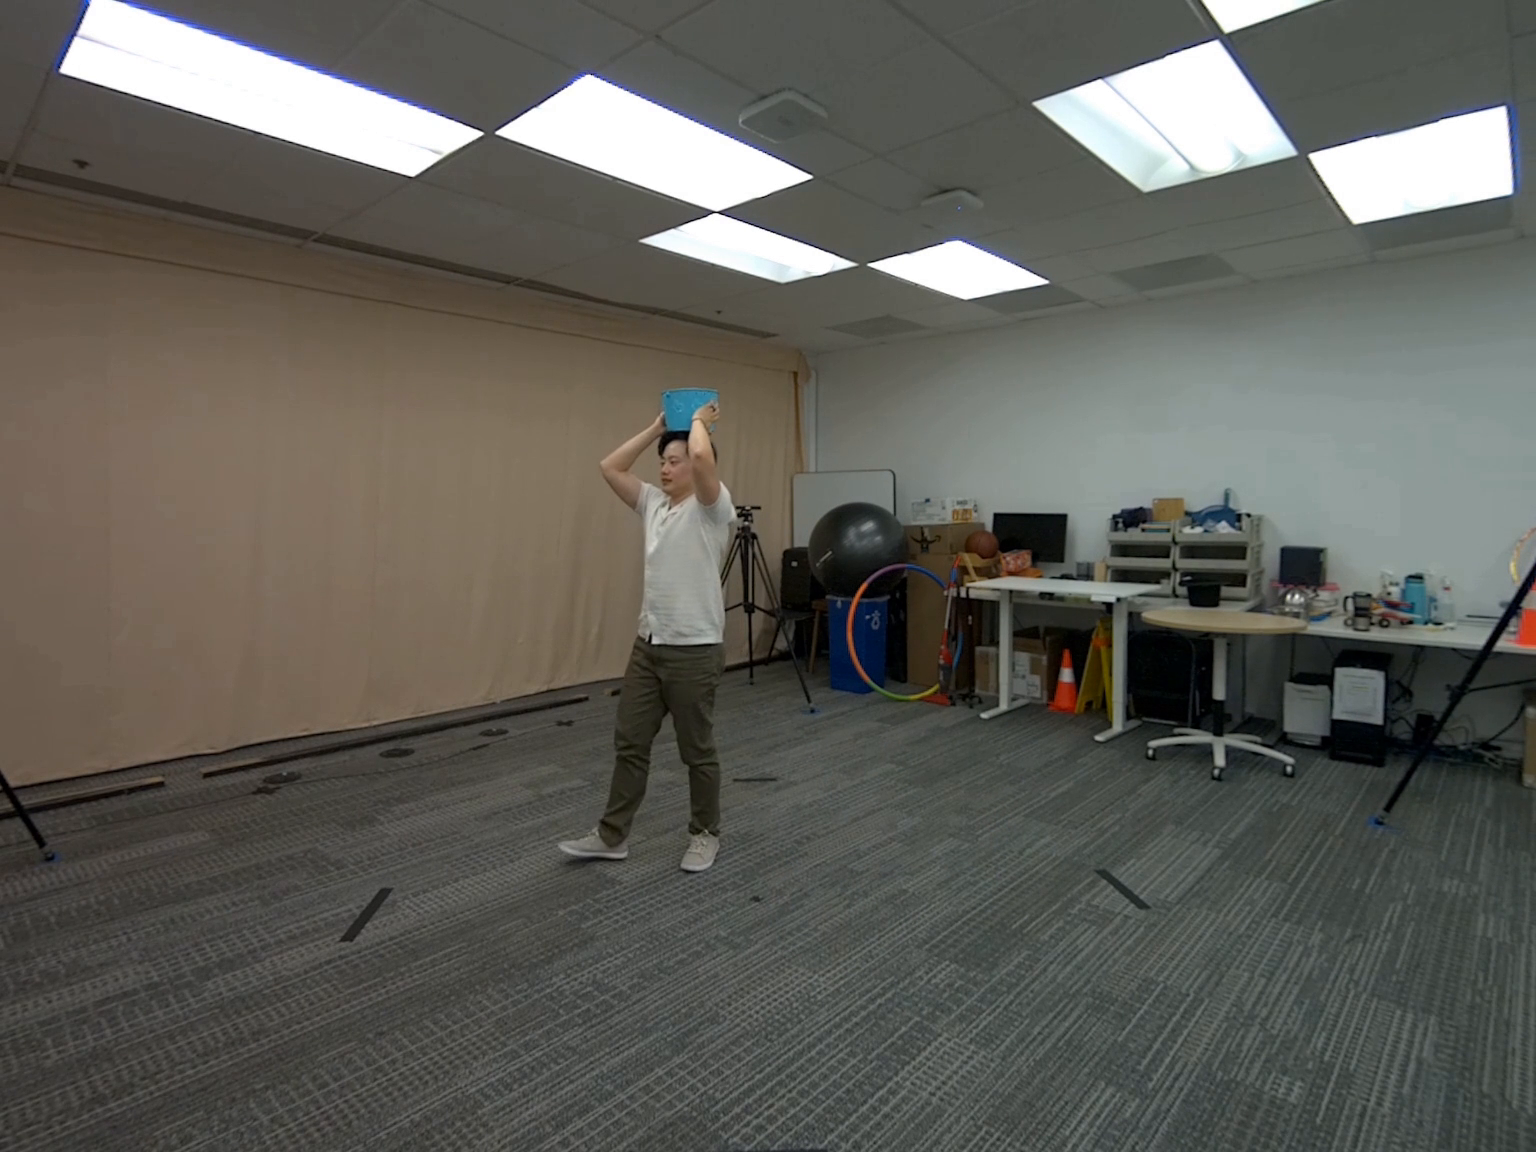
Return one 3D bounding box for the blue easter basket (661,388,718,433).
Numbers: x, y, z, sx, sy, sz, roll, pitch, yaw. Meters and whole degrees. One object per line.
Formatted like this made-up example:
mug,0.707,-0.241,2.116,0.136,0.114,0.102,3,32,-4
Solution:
blue easter basket,-0.313,-0.637,3.296,0.243,0.155,0.244,0,3,-2
